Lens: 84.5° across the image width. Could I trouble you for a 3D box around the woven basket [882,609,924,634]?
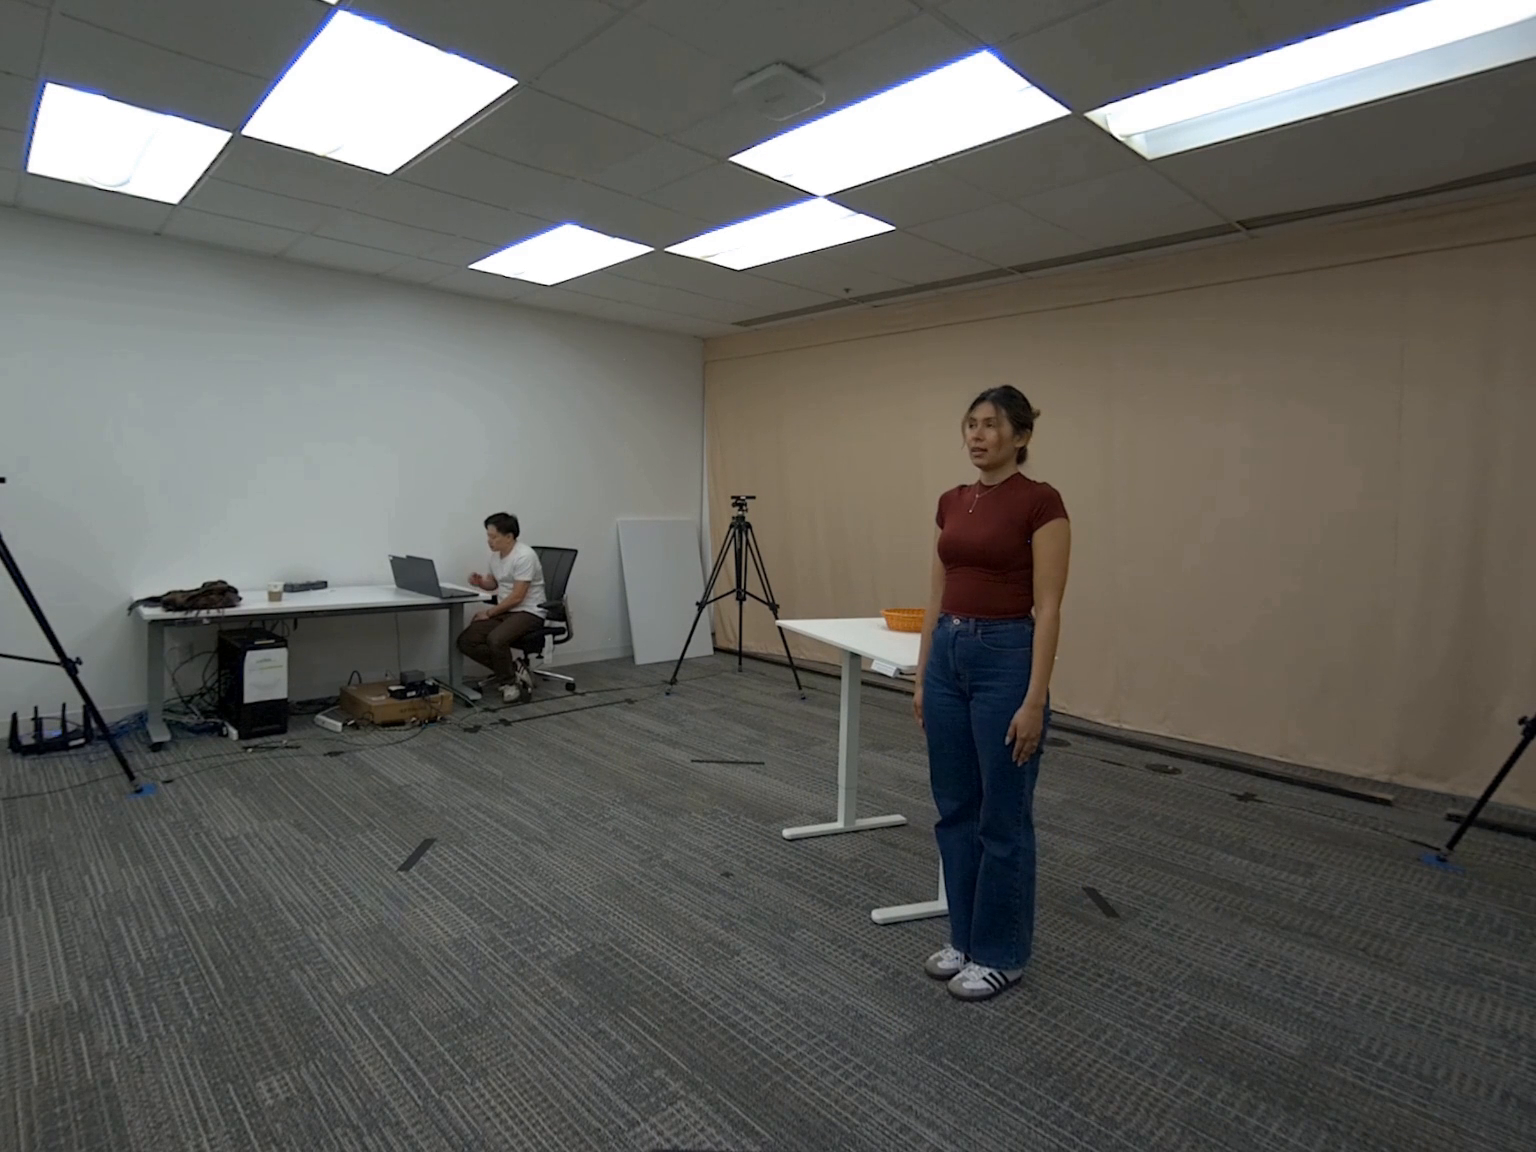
[{"bbox_3d":[0.620,0.184,3.416,0.345,0.073,0.257,0,4,-20],"label":"woven basket"}]
